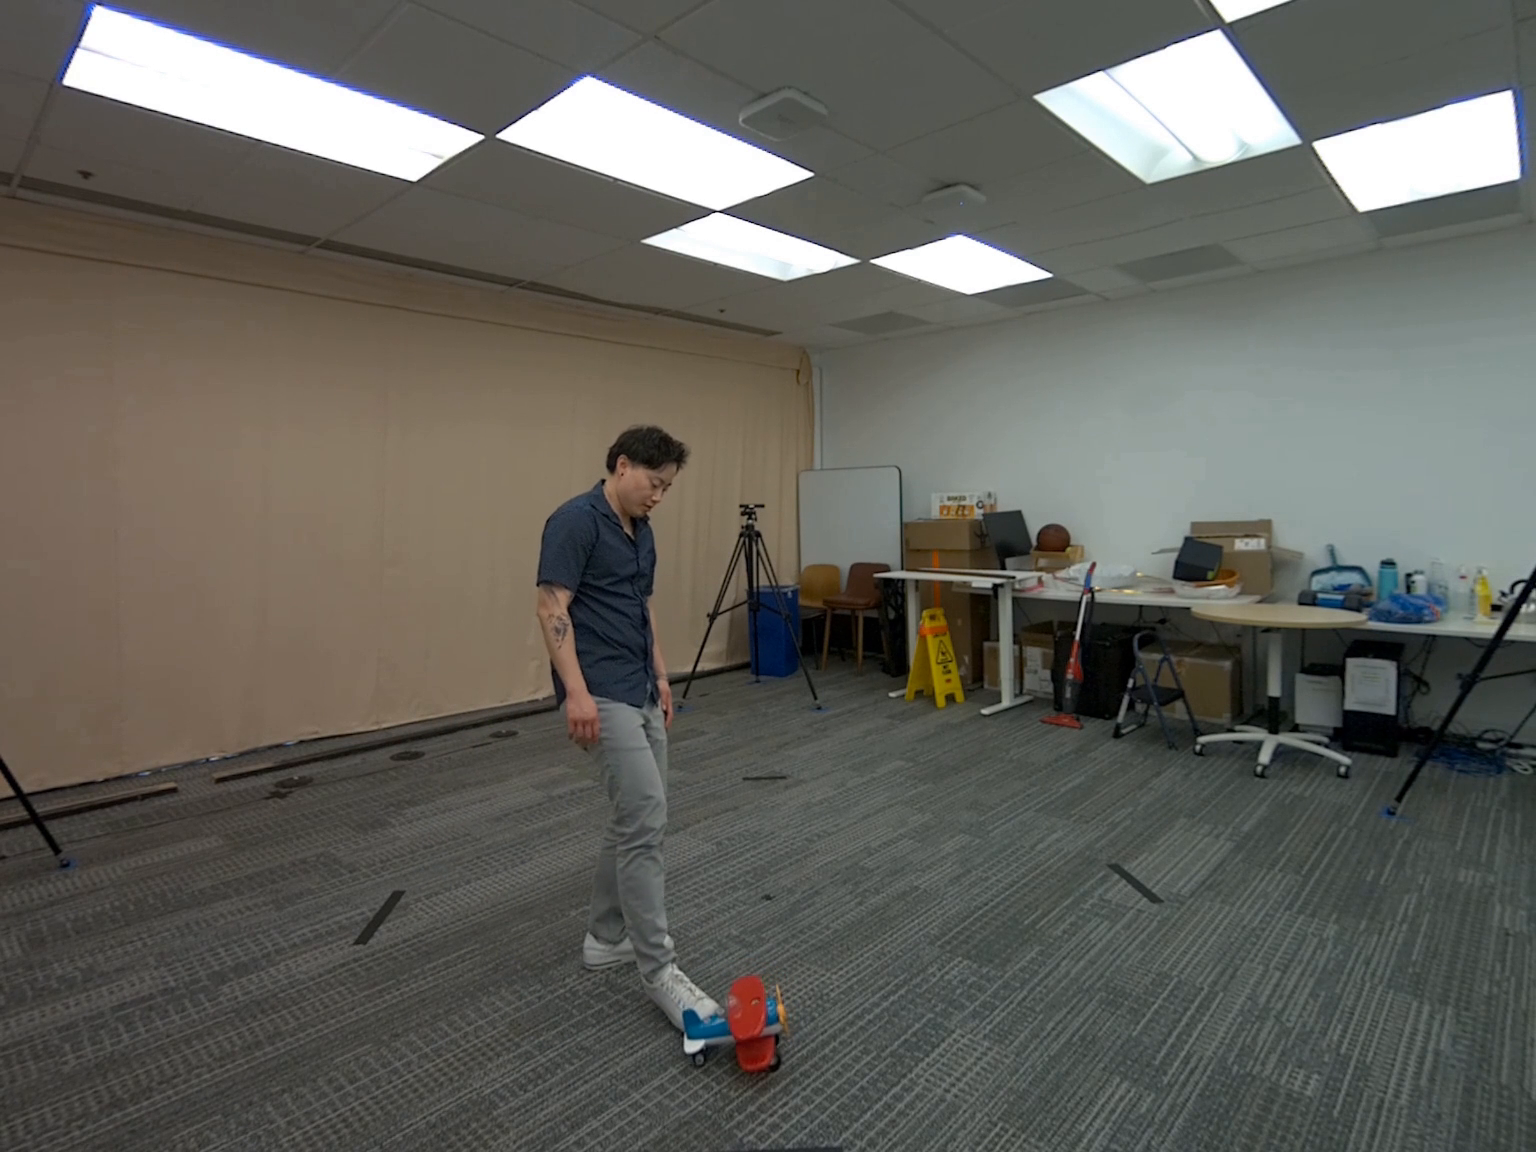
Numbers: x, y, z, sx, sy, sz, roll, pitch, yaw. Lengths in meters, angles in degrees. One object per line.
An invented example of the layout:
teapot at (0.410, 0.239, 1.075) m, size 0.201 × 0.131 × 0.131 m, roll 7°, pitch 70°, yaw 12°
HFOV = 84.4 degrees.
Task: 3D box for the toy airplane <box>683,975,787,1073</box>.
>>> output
toy airplane at (-0.076, 1.143, 2.098) m, size 0.253 × 0.156 × 0.258 m, roll -3°, pitch 6°, yaw -28°
